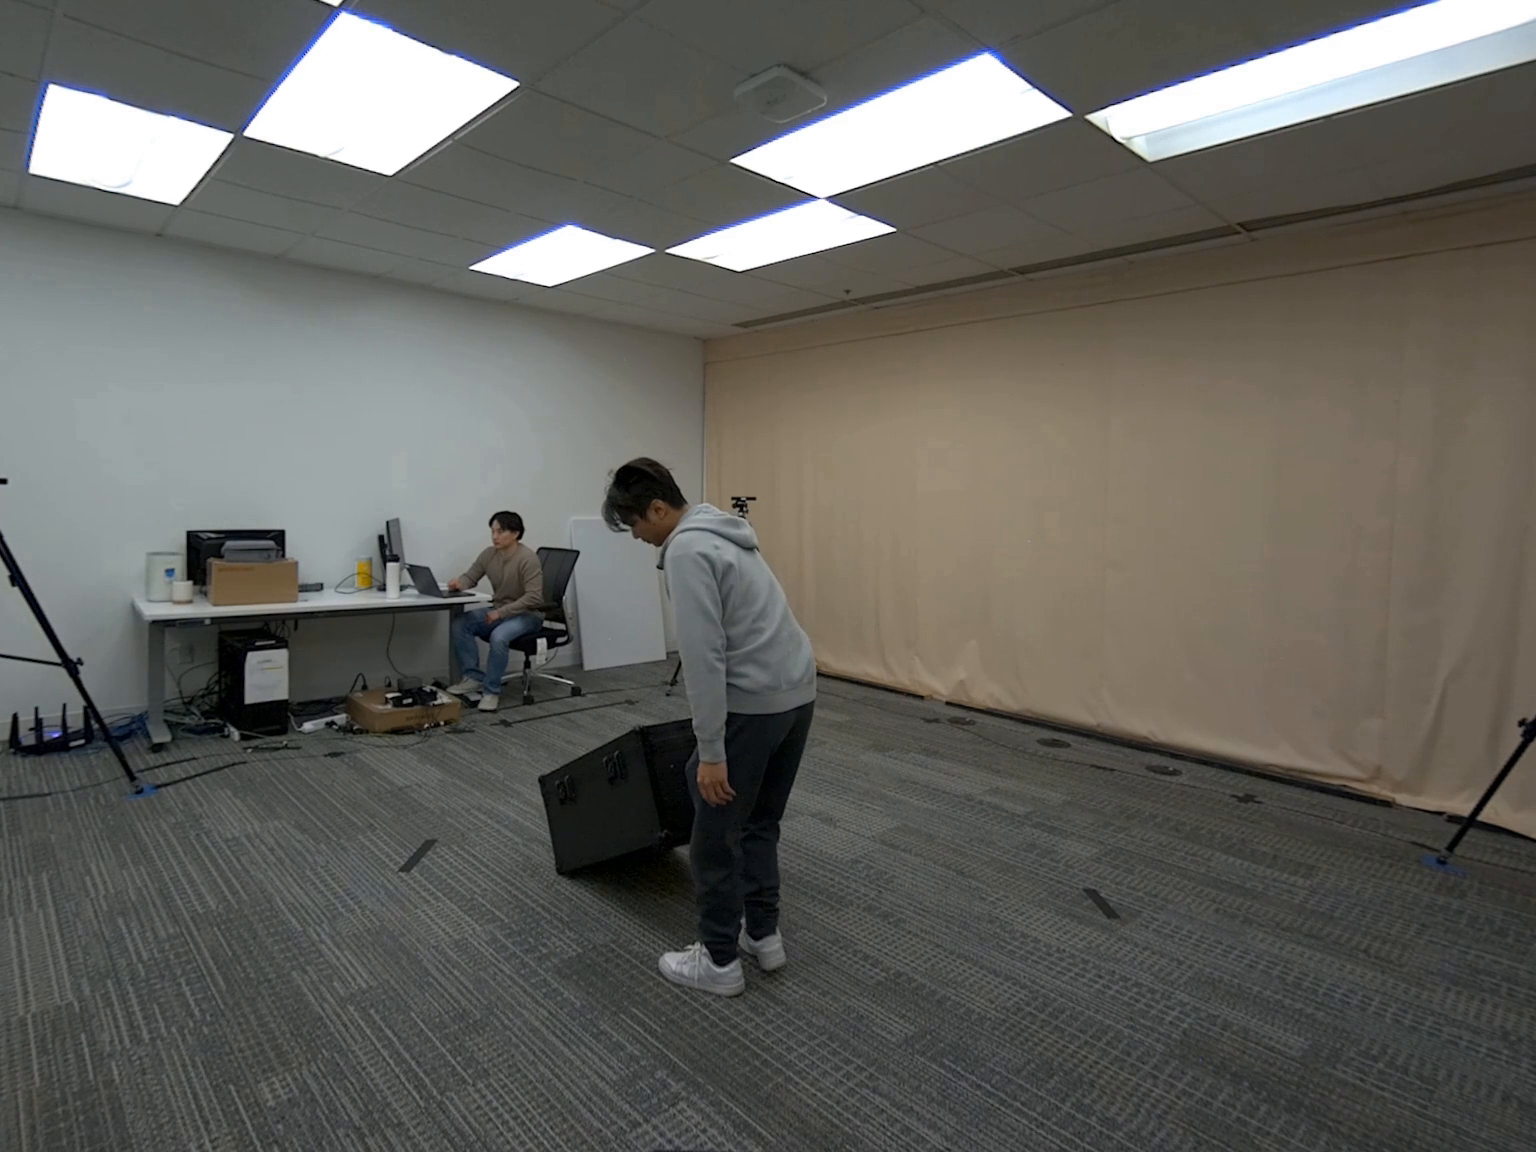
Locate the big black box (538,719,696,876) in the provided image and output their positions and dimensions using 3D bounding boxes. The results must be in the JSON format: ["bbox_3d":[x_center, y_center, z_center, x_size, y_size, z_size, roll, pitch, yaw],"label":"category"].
[{"bbox_3d":[-0.429,0.795,3.031,0.509,0.402,0.868,-2,-21,-40],"label":"big black box"}]
